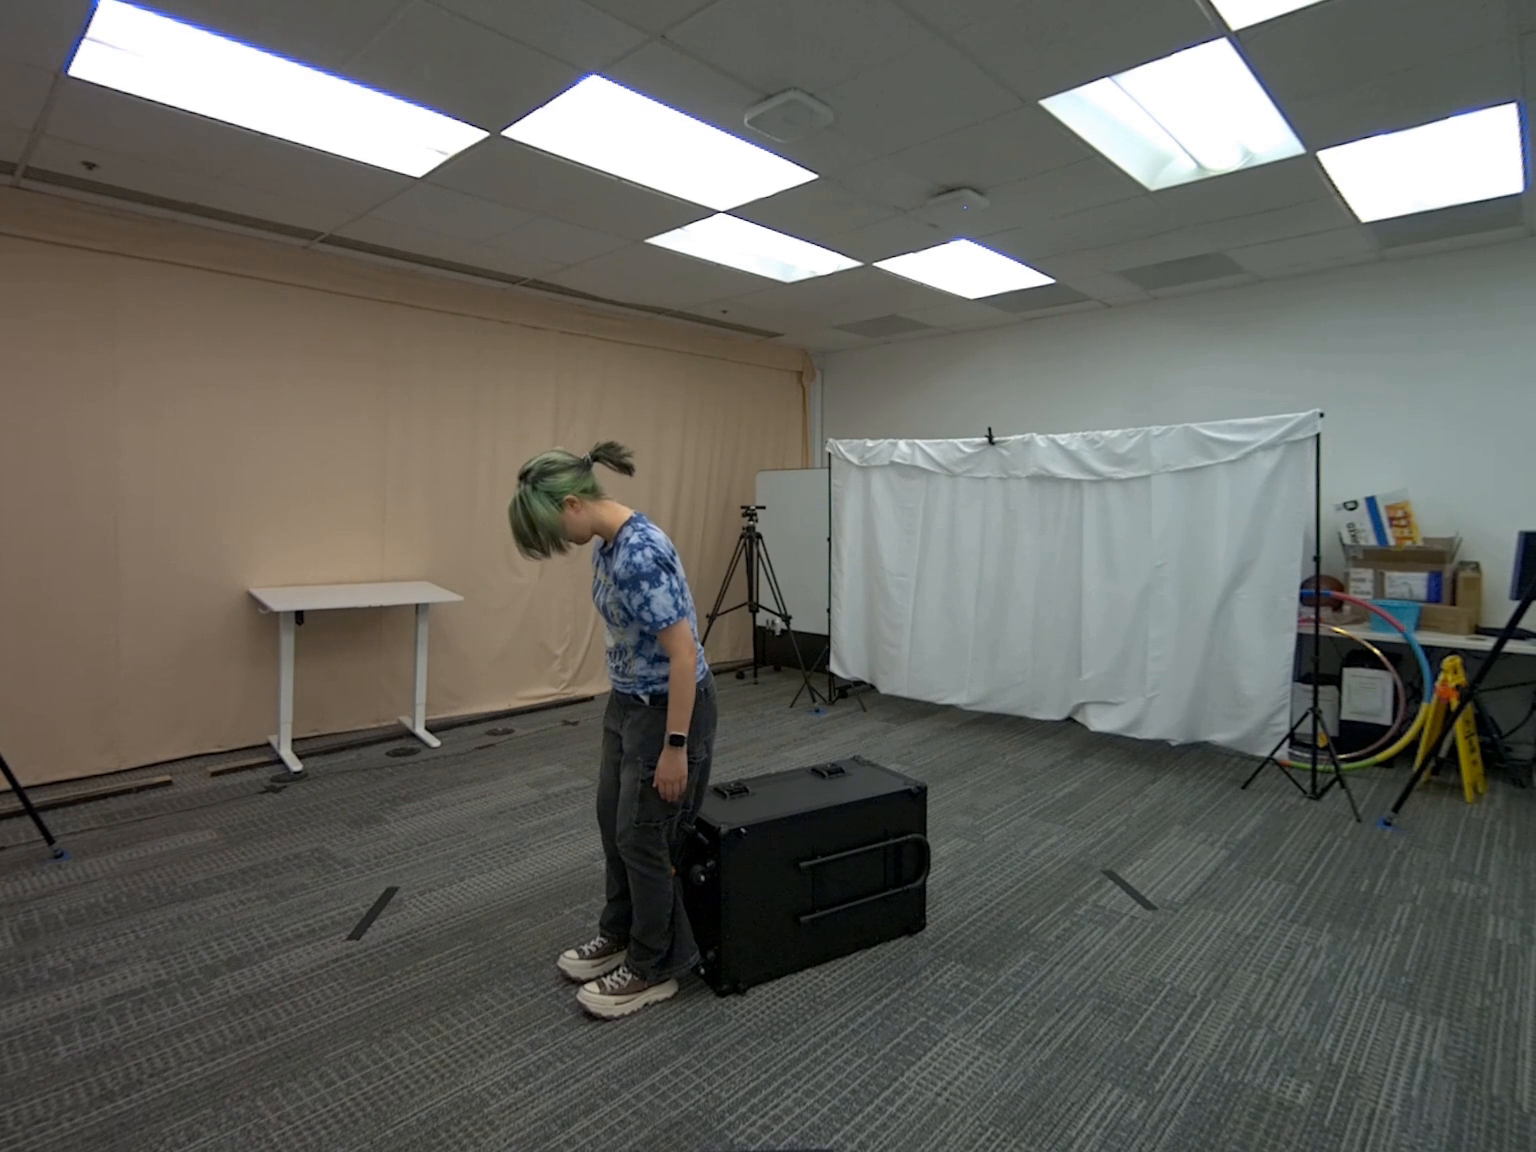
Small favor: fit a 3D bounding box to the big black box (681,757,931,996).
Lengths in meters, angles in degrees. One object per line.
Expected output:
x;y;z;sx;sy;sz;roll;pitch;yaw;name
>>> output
0.084;0.925;2.686;0.839;0.520;0.408;-3;4;-30;big black box
